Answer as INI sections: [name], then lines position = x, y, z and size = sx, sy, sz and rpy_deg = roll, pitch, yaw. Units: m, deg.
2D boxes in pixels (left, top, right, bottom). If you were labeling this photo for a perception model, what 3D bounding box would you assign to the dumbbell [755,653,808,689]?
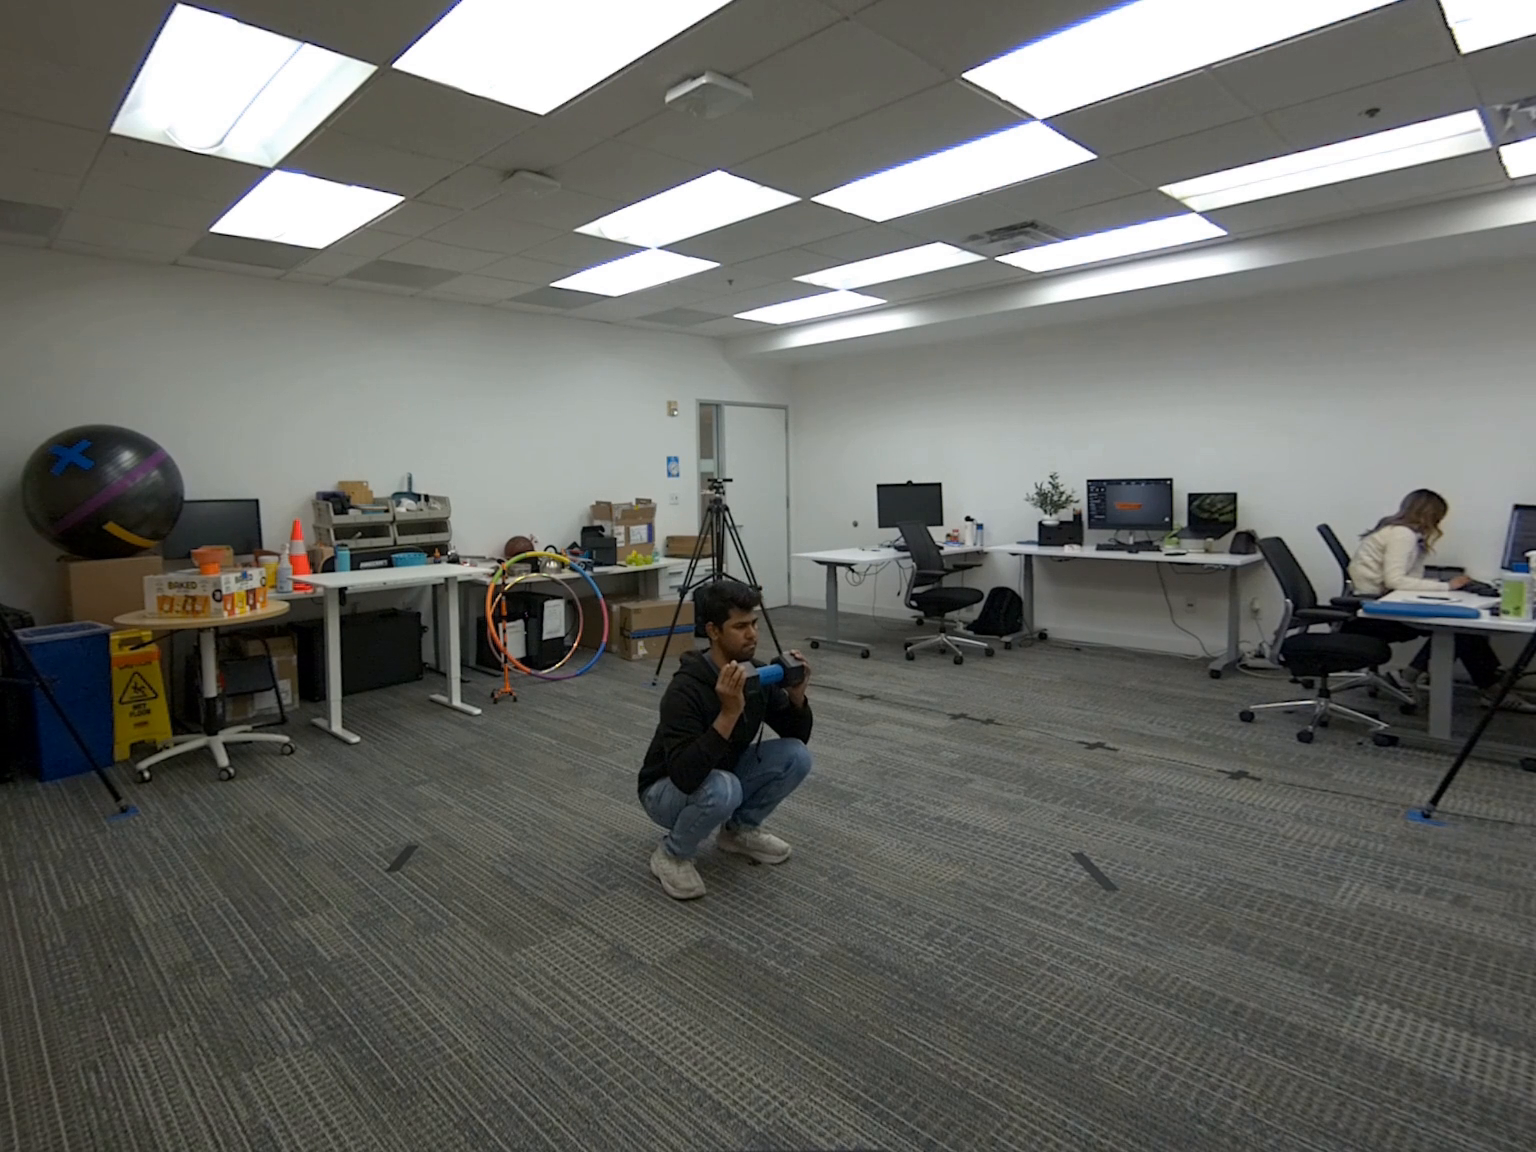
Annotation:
[dumbbell]
position = -0.013, 0.321, 2.864
size = 0.286, 0.122, 0.112
rpy_deg = -4, 6, -41
